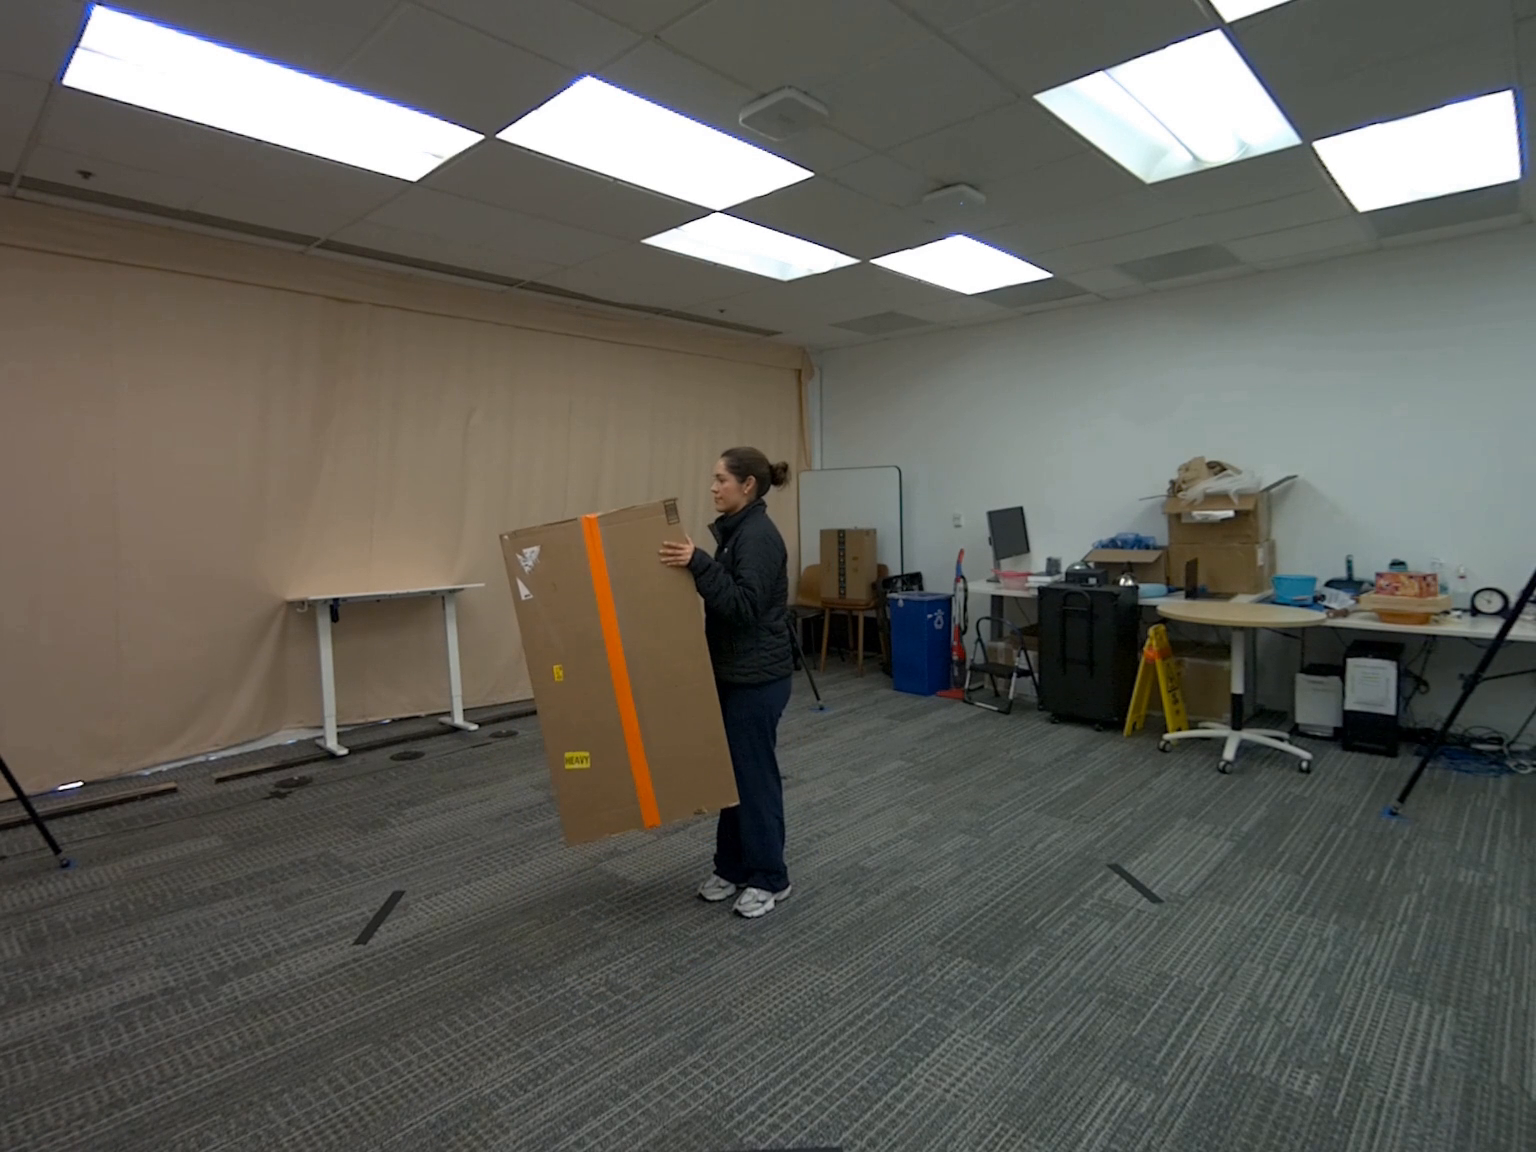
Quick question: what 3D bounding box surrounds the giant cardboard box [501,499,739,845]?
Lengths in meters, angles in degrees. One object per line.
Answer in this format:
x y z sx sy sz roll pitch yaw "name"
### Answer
-0.490 0.303 2.885 0.574 1.024 0.430 -12 2 -7 "giant cardboard box"
